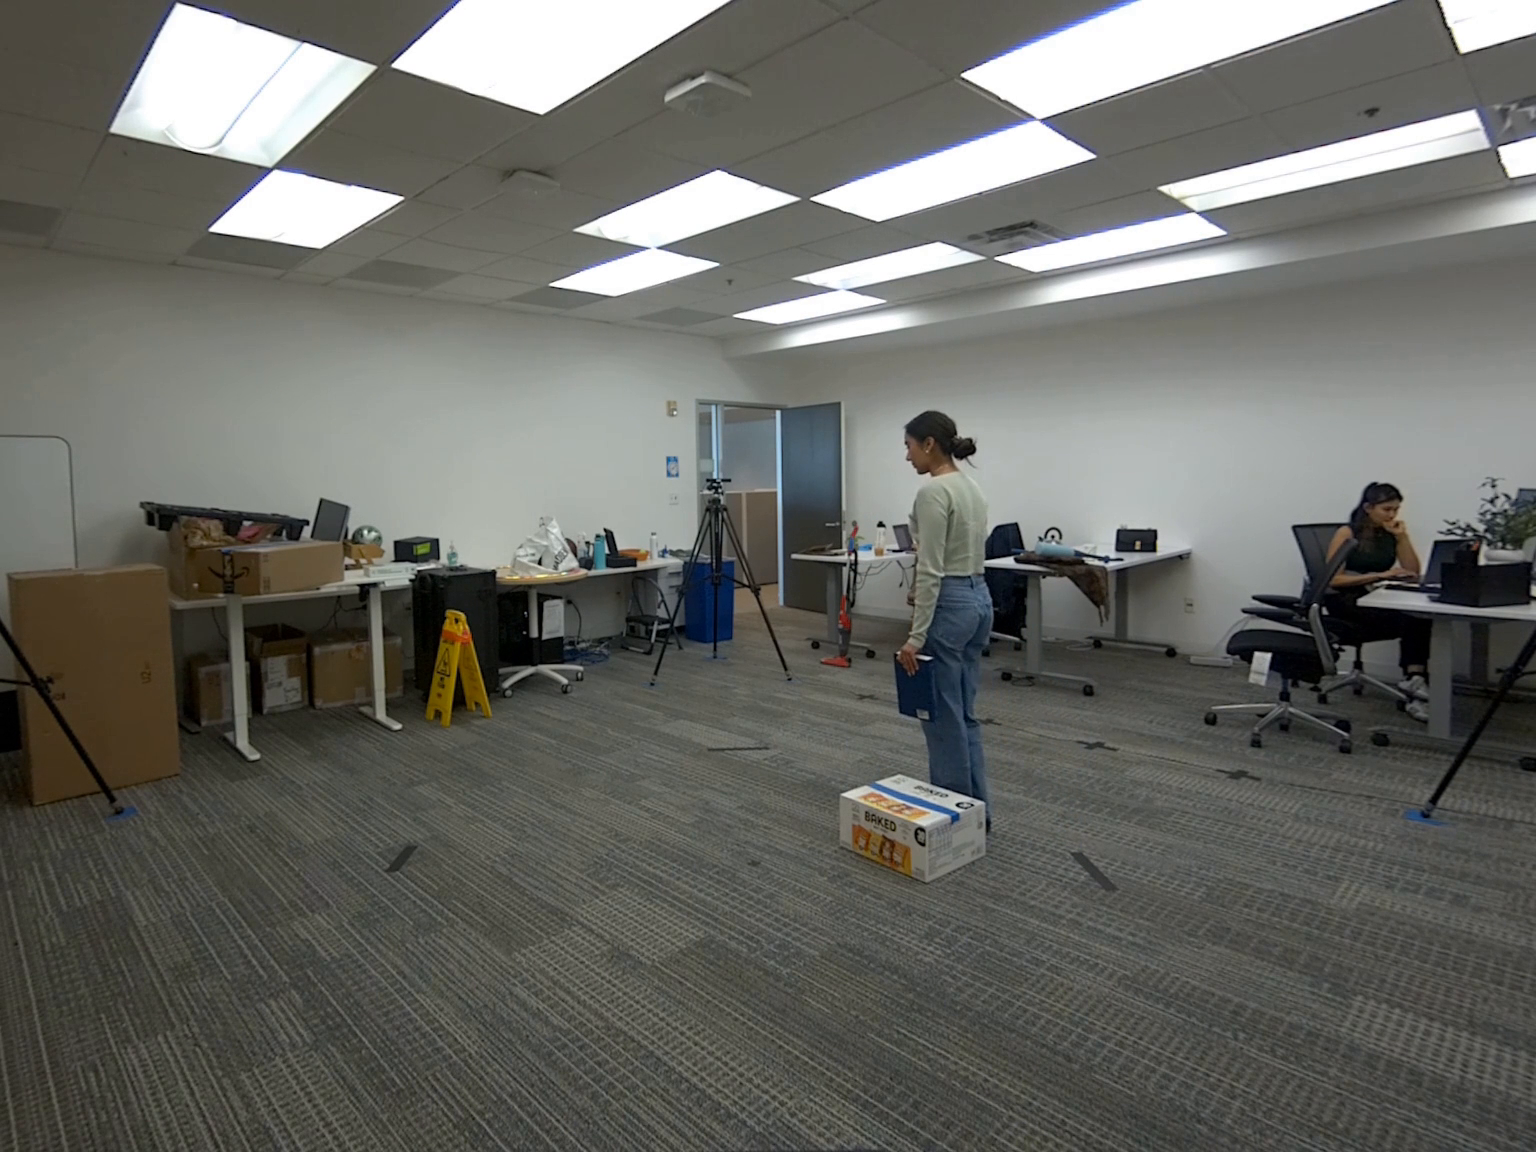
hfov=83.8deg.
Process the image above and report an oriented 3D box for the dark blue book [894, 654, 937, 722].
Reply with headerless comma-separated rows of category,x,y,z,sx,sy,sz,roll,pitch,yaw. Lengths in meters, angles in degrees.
dark blue book,0.560,0.411,3.204,0.044,0.242,0.168,-13,13,-37
